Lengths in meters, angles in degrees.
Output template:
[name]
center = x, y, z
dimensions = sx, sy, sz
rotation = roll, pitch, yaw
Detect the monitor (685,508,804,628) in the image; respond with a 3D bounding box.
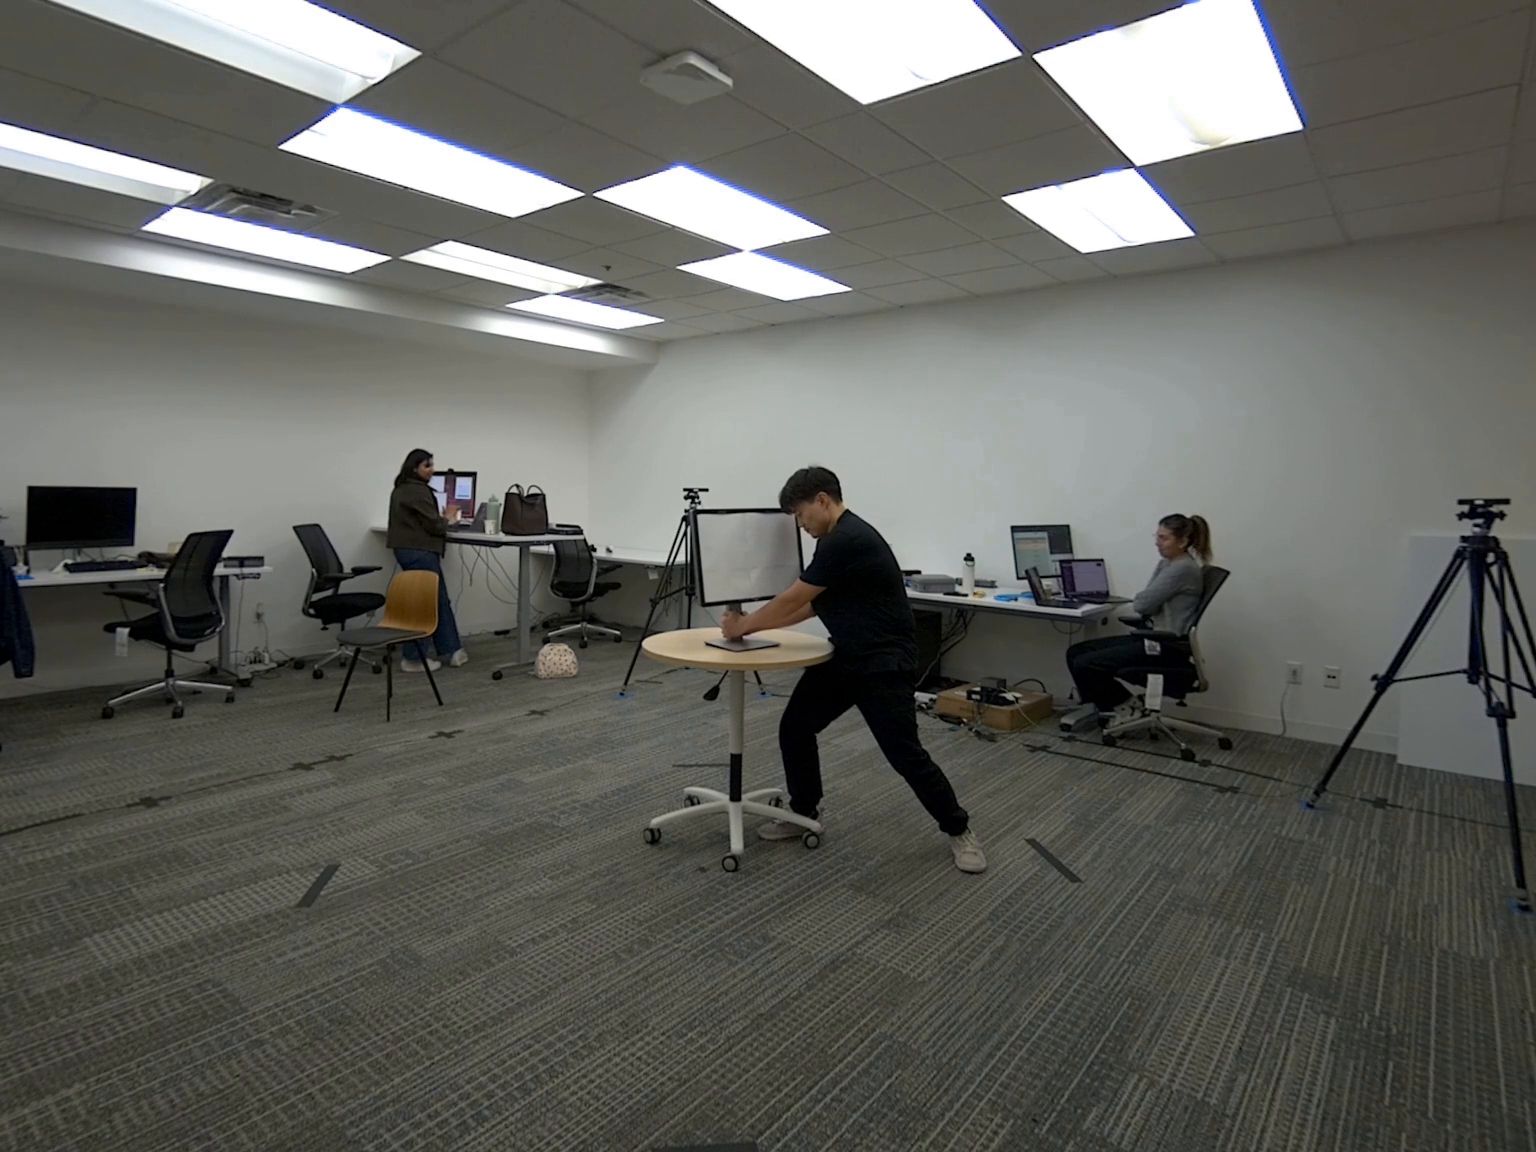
[monitor]
center = -0.105, 0.008, 3.351
dimensions = 0.523, 0.520, 0.194
rotation = -3, 7, -44
